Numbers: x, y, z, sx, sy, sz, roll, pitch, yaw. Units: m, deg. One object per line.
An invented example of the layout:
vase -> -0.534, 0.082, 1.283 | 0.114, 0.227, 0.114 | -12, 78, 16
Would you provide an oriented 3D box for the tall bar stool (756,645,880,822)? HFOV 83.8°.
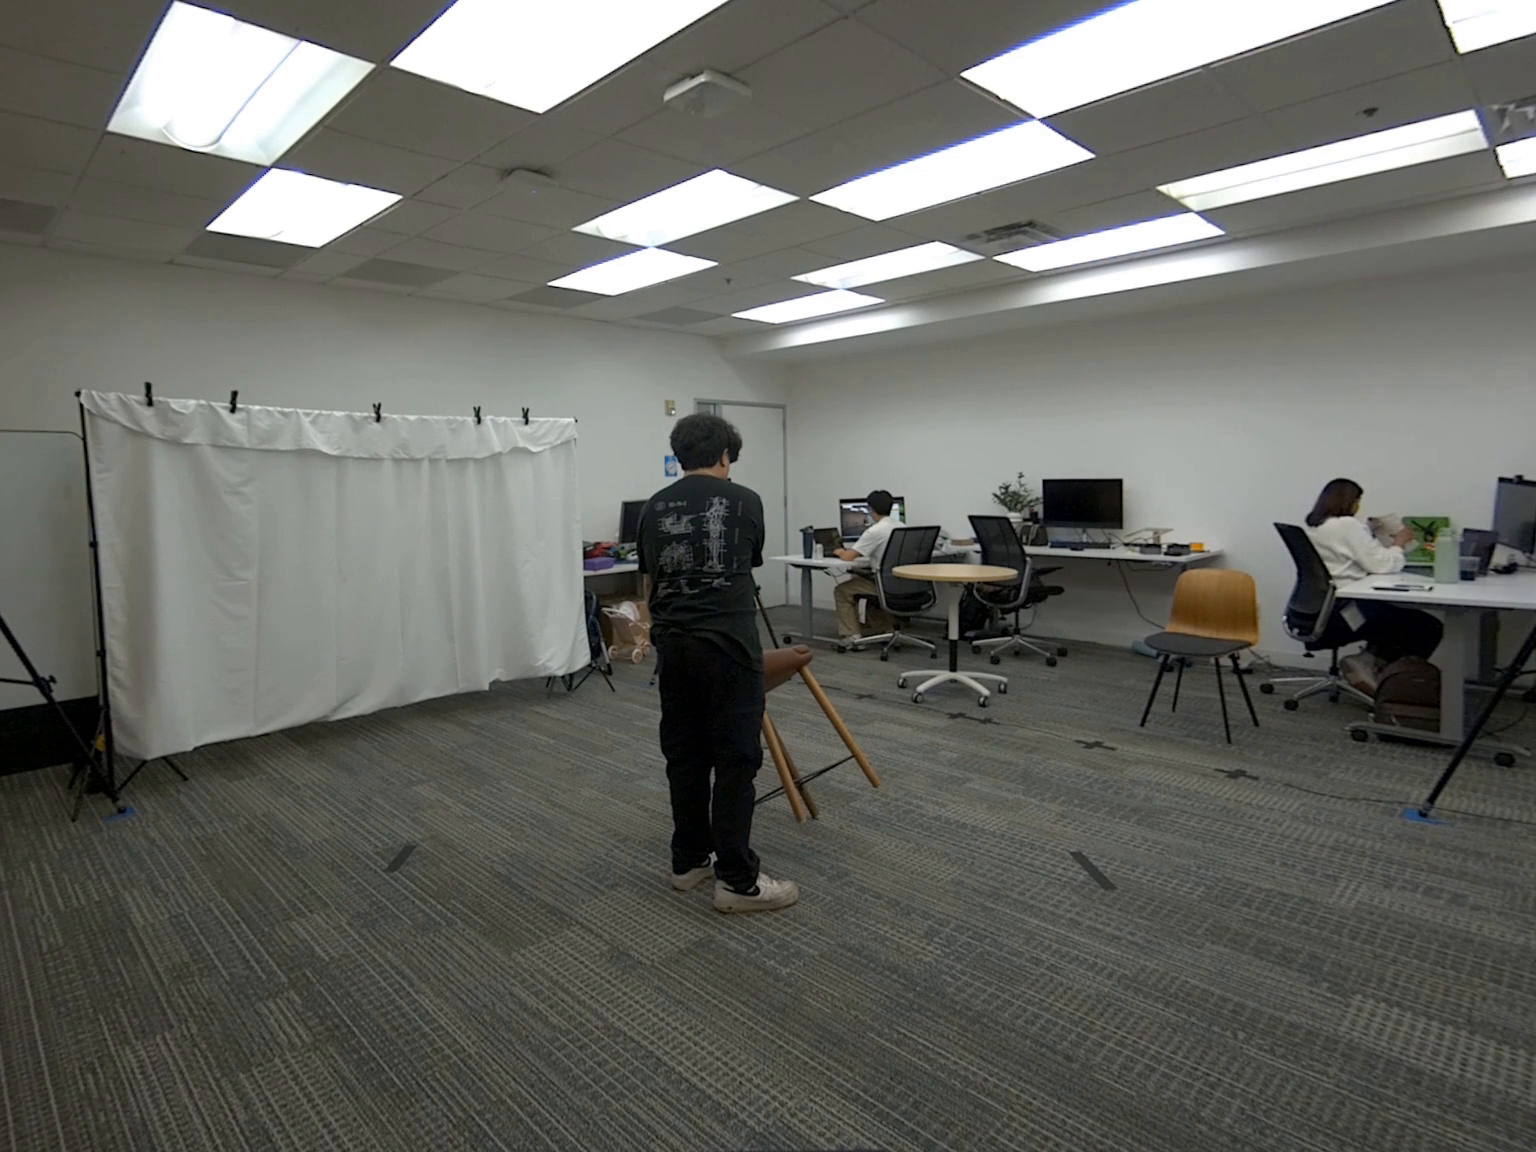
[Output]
tall bar stool -> -0.023, 0.545, 3.377 | 0.456, 0.909, 0.458 | -10, -24, -45
